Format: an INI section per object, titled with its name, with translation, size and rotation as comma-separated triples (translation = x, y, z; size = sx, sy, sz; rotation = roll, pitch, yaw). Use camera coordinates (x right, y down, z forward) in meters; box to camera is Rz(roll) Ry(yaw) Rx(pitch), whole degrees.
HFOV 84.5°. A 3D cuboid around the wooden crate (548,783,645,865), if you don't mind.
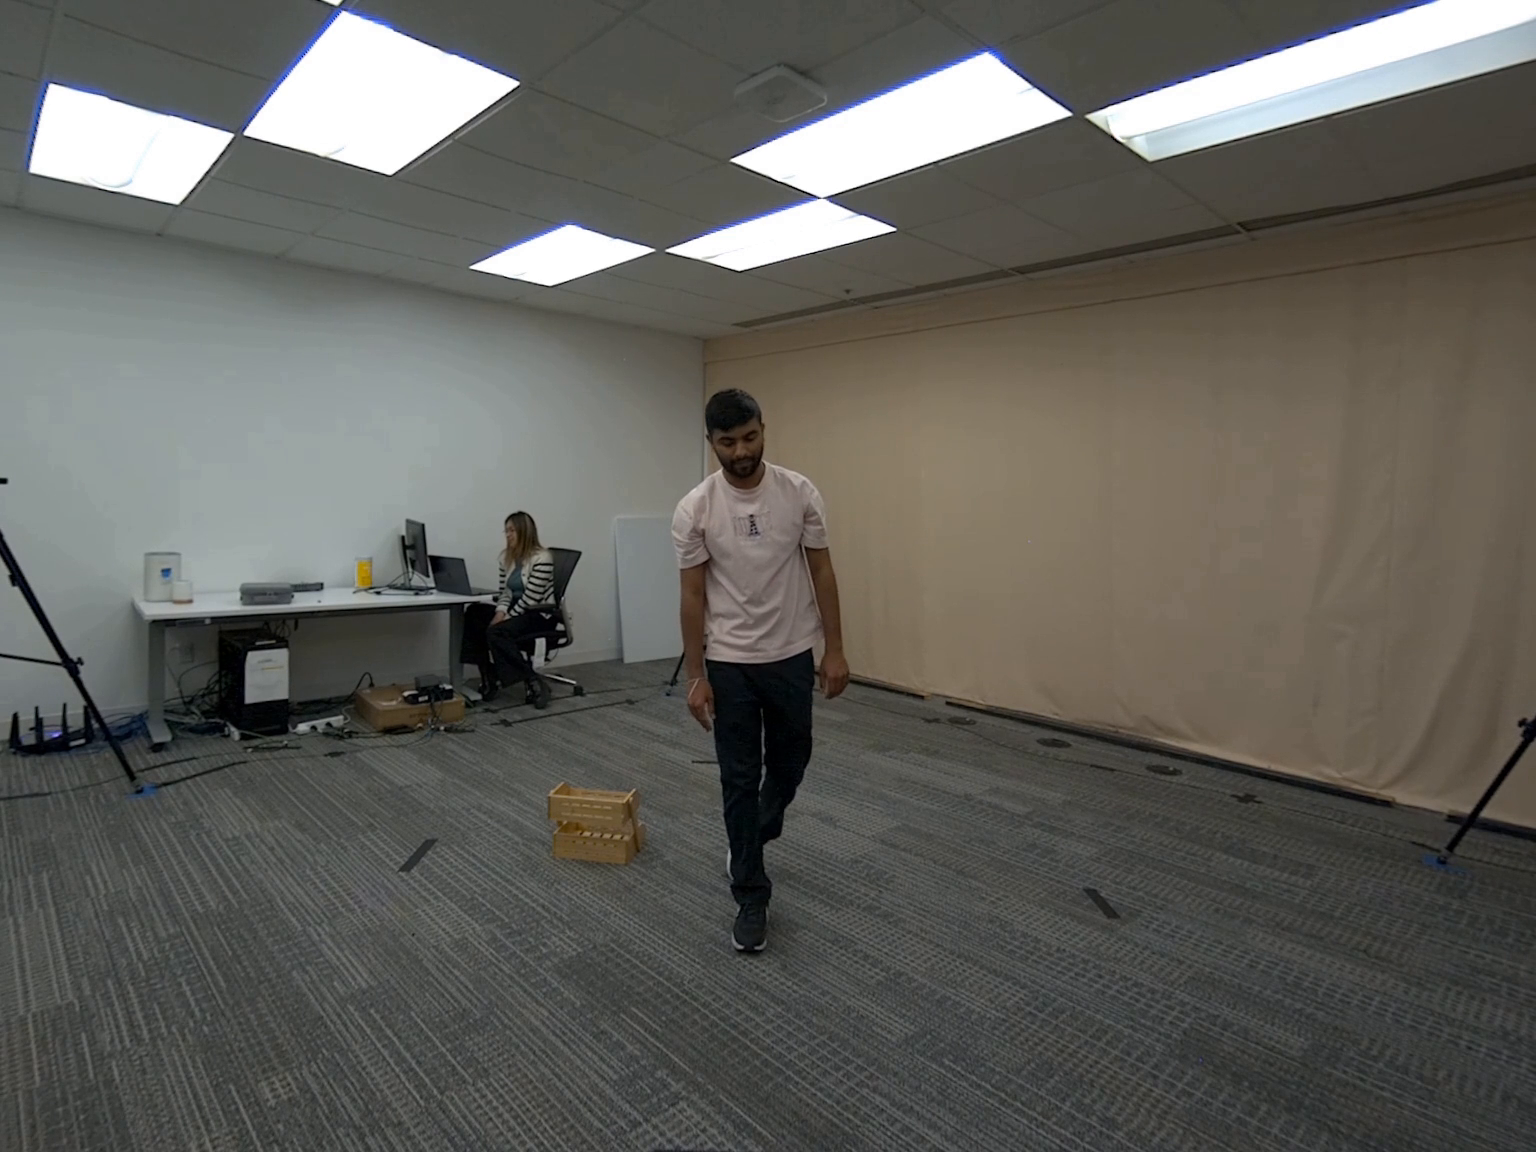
[wooden crate]
translation = -0.670, 0.943, 3.294
size = 0.327, 0.272, 0.301
rotation = 2, 5, 8
